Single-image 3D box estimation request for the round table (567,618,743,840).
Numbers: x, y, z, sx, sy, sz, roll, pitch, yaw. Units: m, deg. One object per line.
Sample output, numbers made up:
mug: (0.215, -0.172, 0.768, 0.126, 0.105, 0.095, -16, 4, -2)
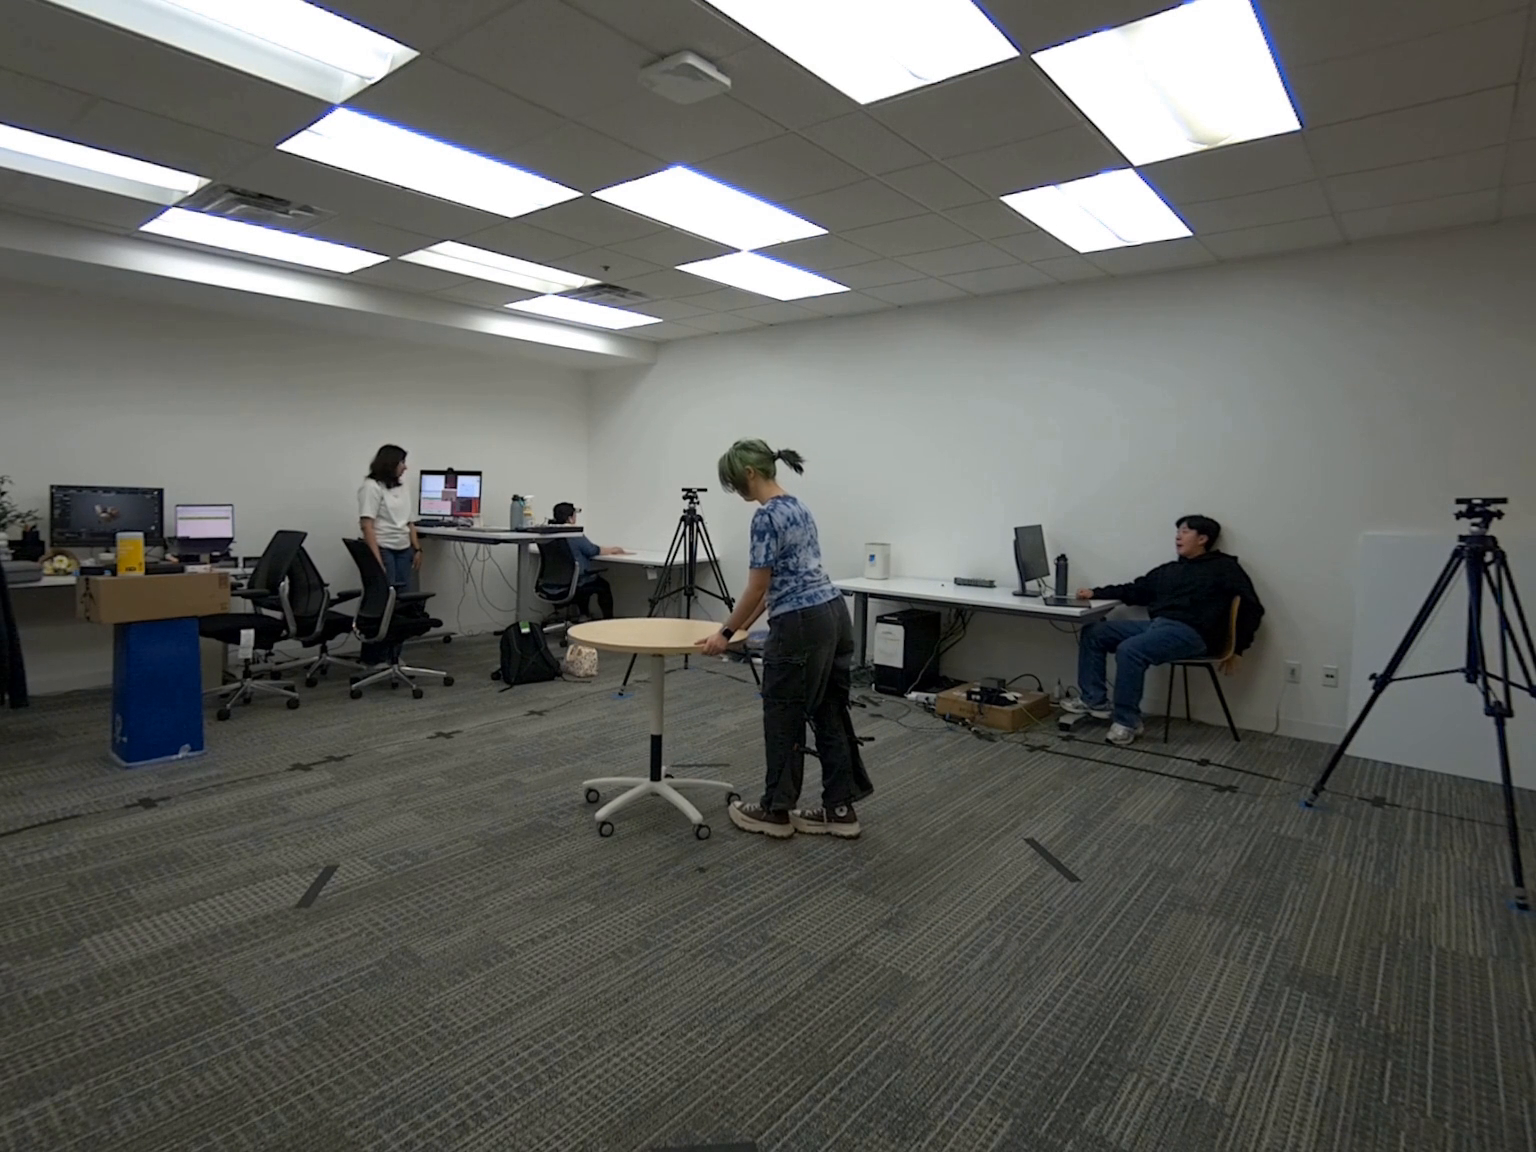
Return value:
round table: (-0.490, 0.626, 3.646, 0.763, 0.792, 0.767, 1, 4, -2)
